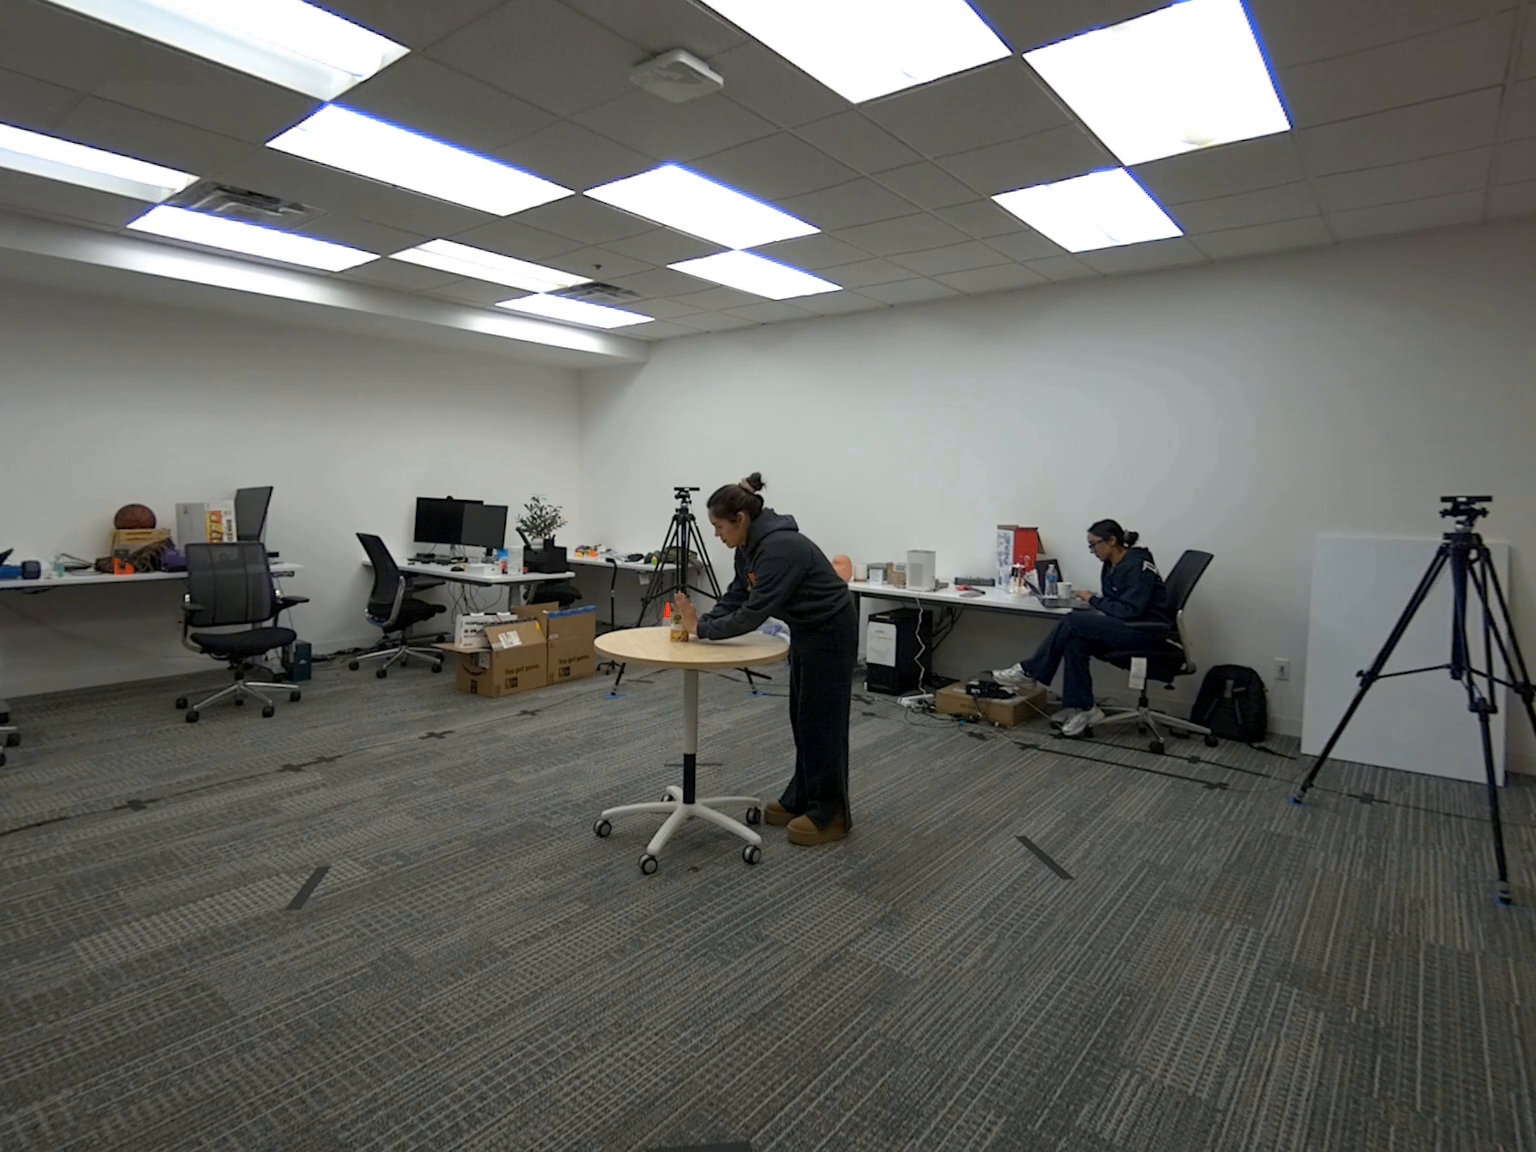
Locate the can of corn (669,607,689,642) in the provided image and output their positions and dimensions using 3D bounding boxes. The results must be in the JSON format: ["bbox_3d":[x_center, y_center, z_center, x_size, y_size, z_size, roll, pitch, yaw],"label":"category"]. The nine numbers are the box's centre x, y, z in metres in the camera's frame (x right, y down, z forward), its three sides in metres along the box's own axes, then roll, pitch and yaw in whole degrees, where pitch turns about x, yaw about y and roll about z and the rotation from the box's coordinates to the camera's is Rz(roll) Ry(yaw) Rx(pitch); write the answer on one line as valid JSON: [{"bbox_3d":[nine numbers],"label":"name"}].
[{"bbox_3d":[-0.351,0.197,3.397,0.074,0.111,0.074,0,3,-2],"label":"can of corn"}]
